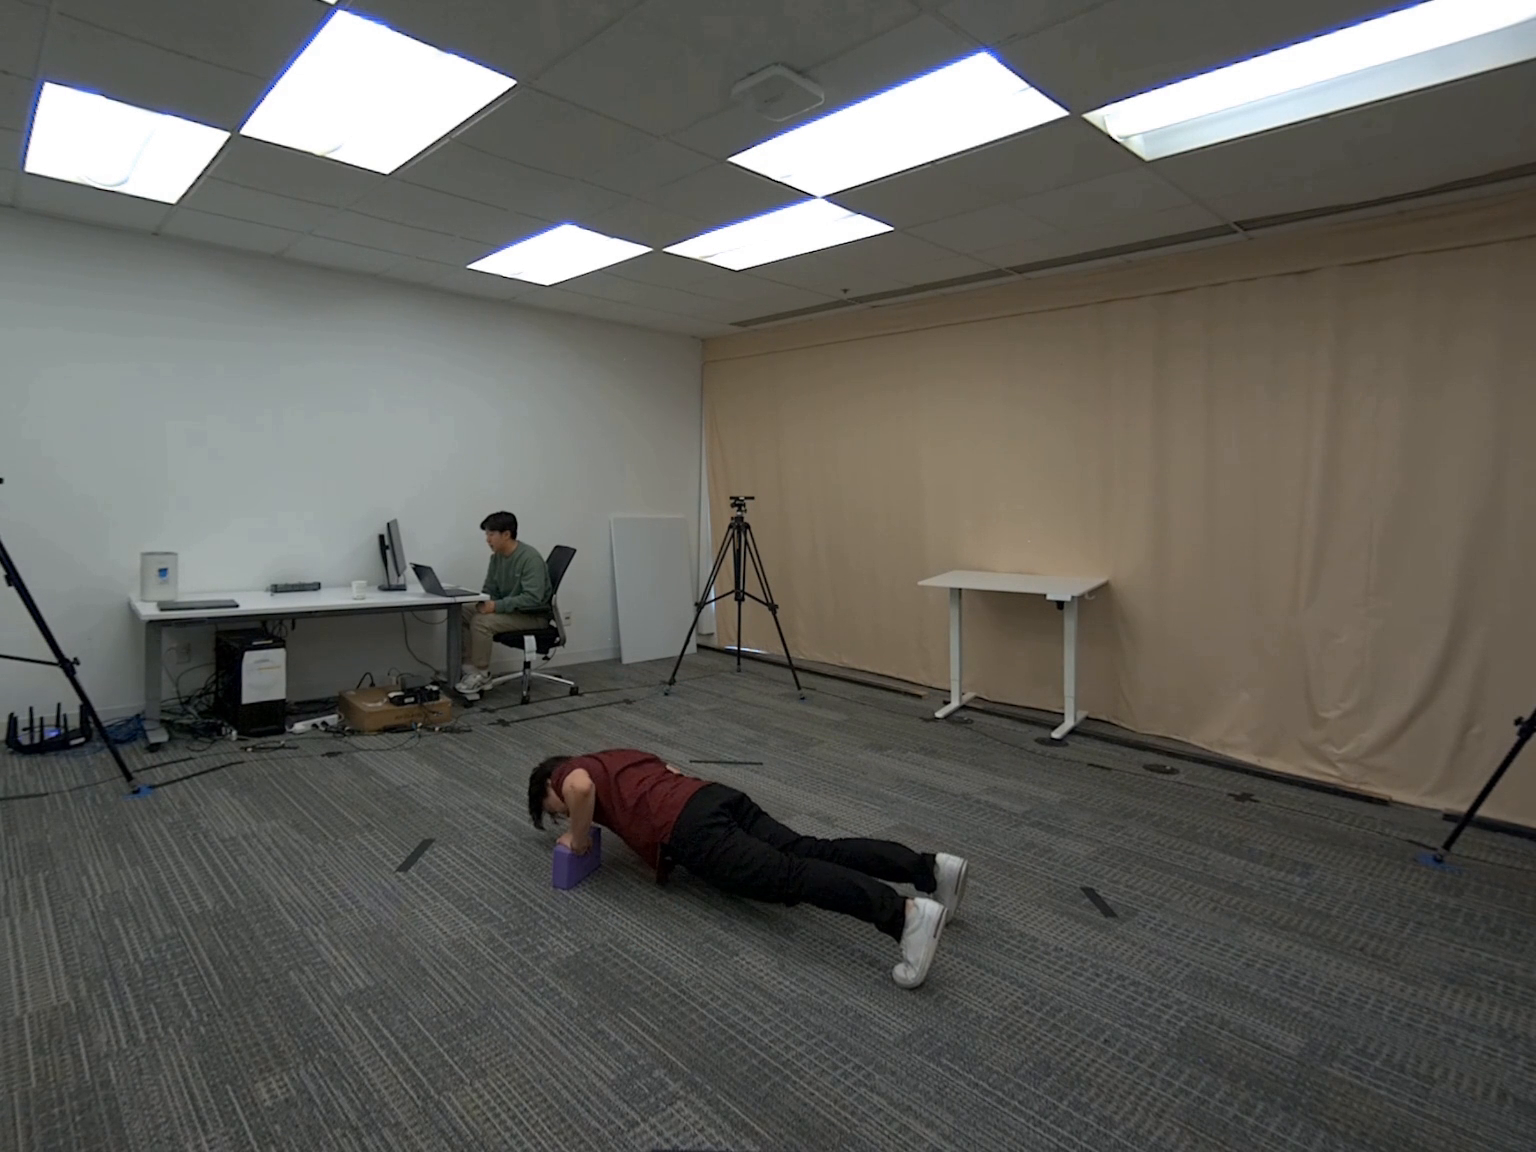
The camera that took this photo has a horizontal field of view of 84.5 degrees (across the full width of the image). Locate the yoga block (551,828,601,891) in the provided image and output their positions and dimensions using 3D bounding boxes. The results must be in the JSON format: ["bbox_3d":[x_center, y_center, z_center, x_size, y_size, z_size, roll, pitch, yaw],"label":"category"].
[{"bbox_3d":[-0.694,1.012,3.066,0.077,0.148,0.226,4,5,17],"label":"yoga block"}]
